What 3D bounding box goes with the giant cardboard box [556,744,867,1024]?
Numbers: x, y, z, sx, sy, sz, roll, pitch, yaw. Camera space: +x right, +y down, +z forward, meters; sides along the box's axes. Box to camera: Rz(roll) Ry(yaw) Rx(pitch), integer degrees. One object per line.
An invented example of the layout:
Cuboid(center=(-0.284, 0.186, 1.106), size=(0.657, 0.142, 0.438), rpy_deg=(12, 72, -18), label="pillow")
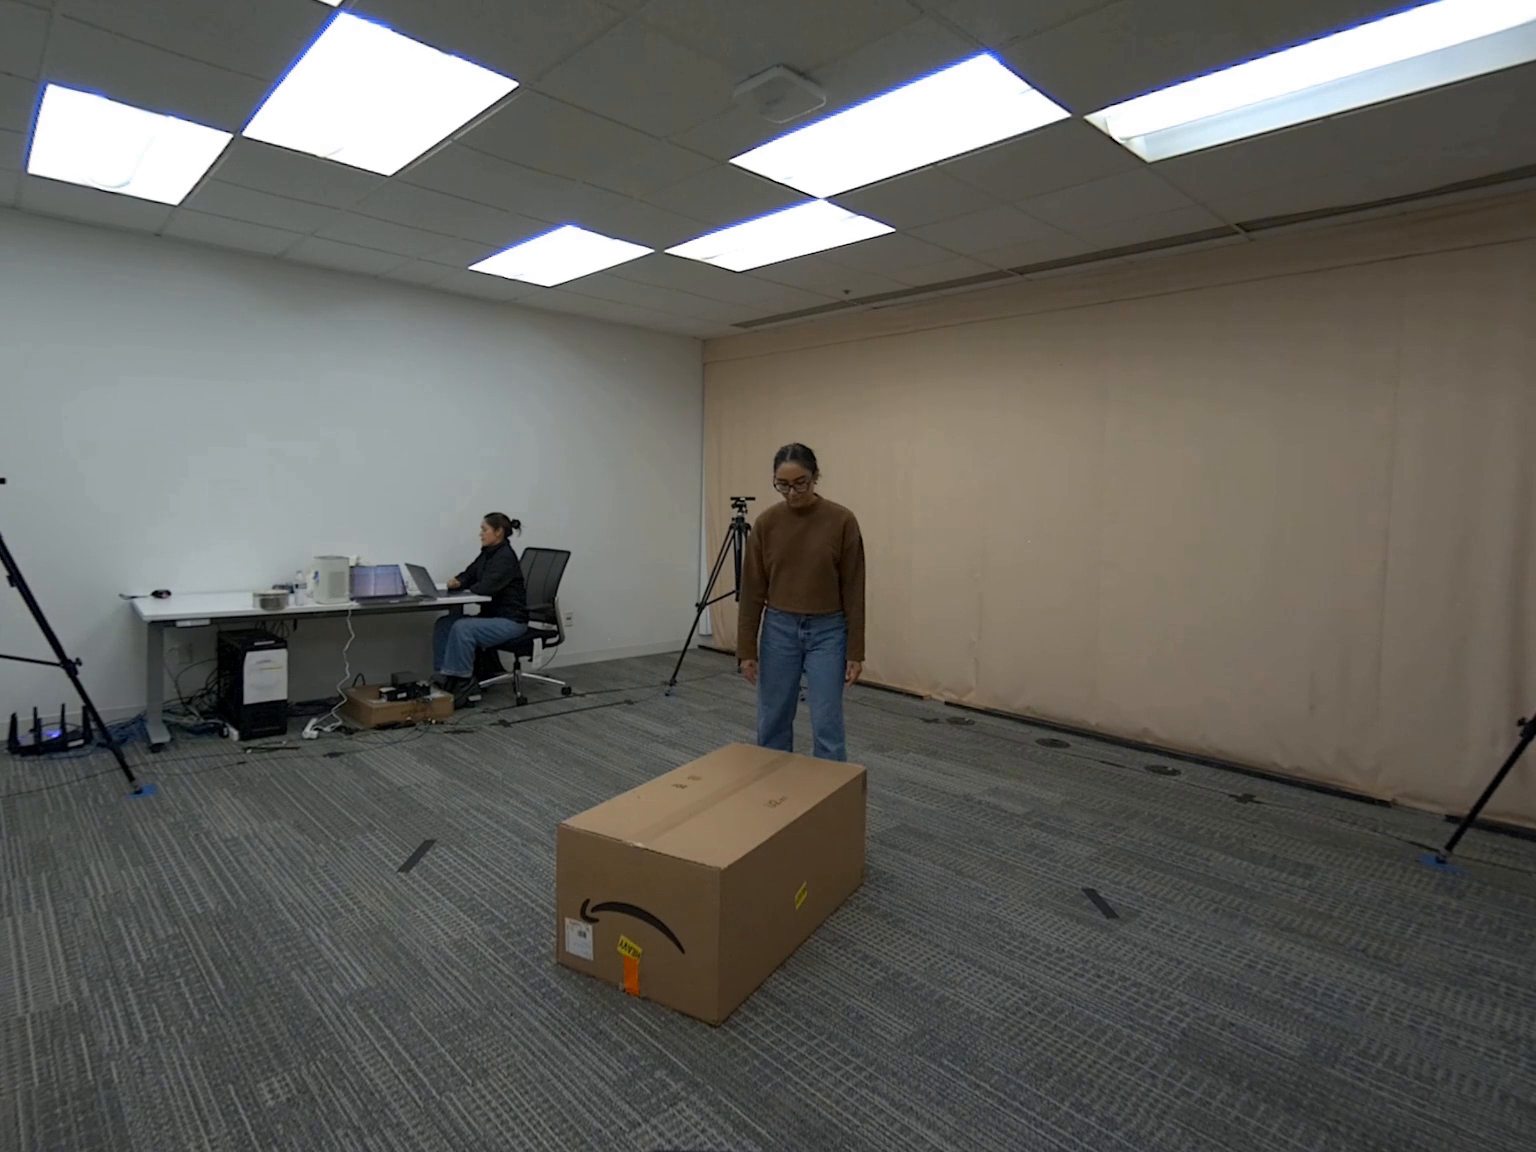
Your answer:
Cuboid(center=(-0.142, 0.926, 2.769), size=(0.597, 0.445, 1.008), rpy_deg=(5, 6, 29), label="giant cardboard box")
